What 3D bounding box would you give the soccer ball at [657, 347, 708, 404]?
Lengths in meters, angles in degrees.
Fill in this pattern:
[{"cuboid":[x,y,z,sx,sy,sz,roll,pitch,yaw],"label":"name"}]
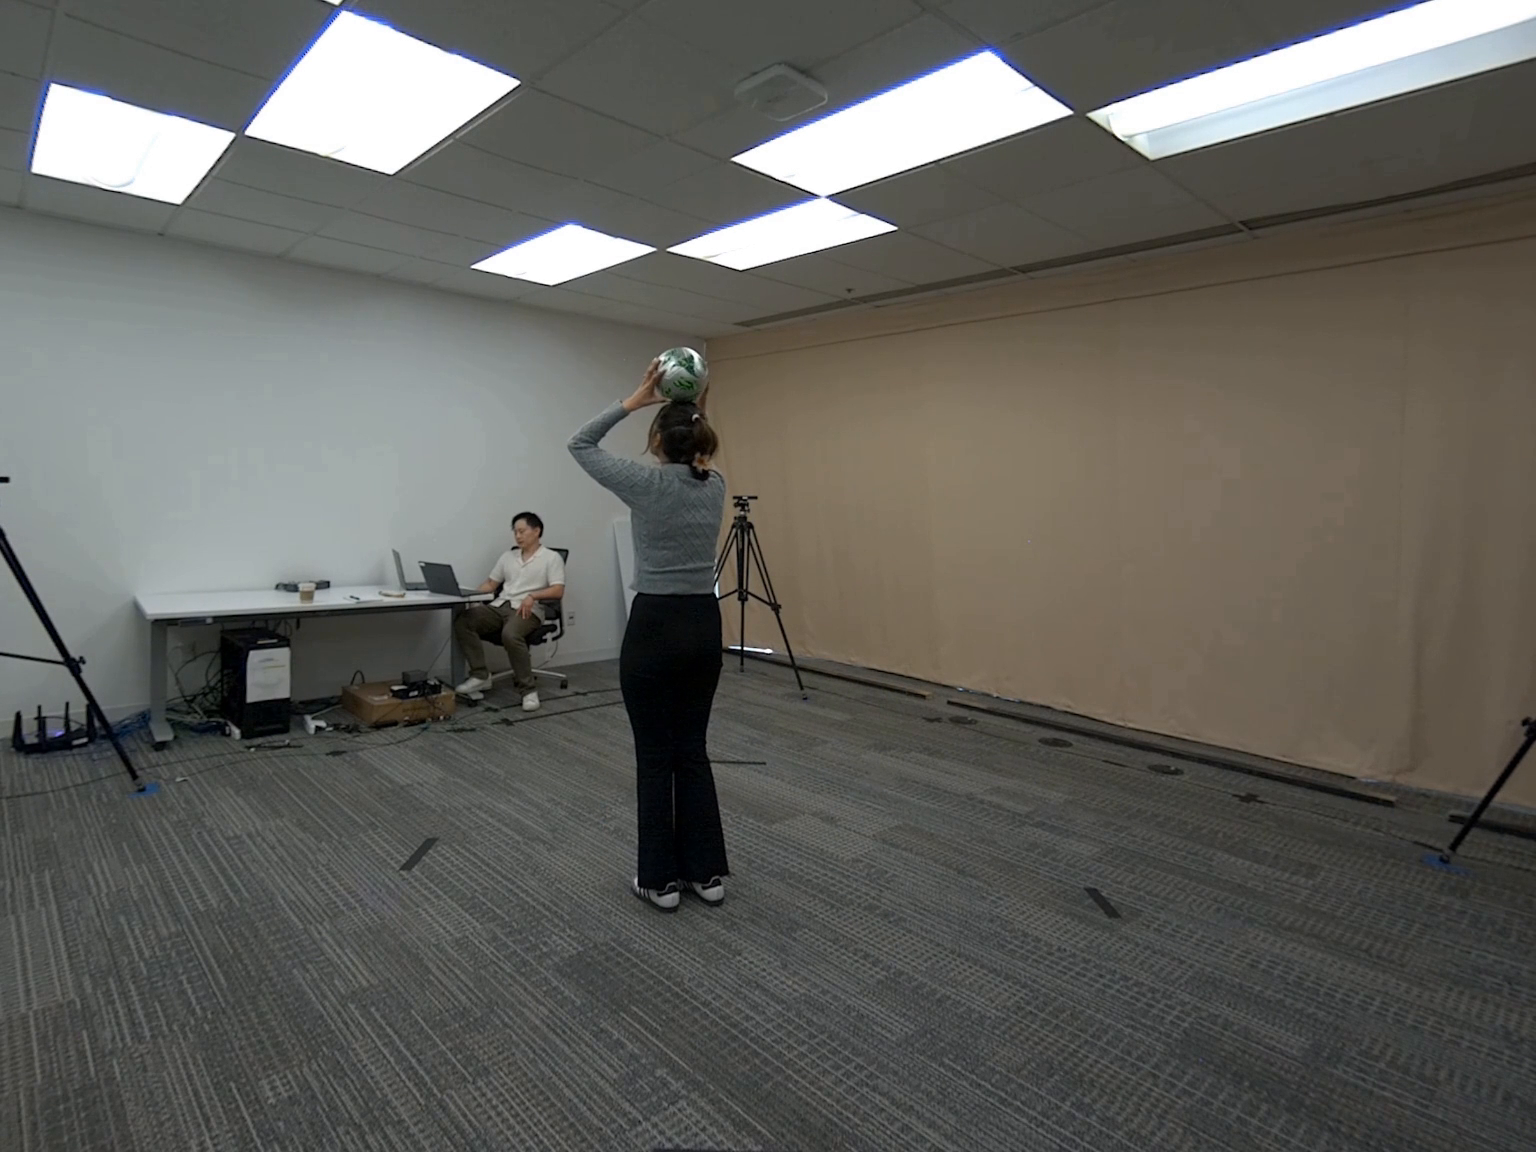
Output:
[{"cuboid":[-0.311,-0.674,2.838,0.187,0.187,0.188,1,4,-1],"label":"soccer ball"}]
